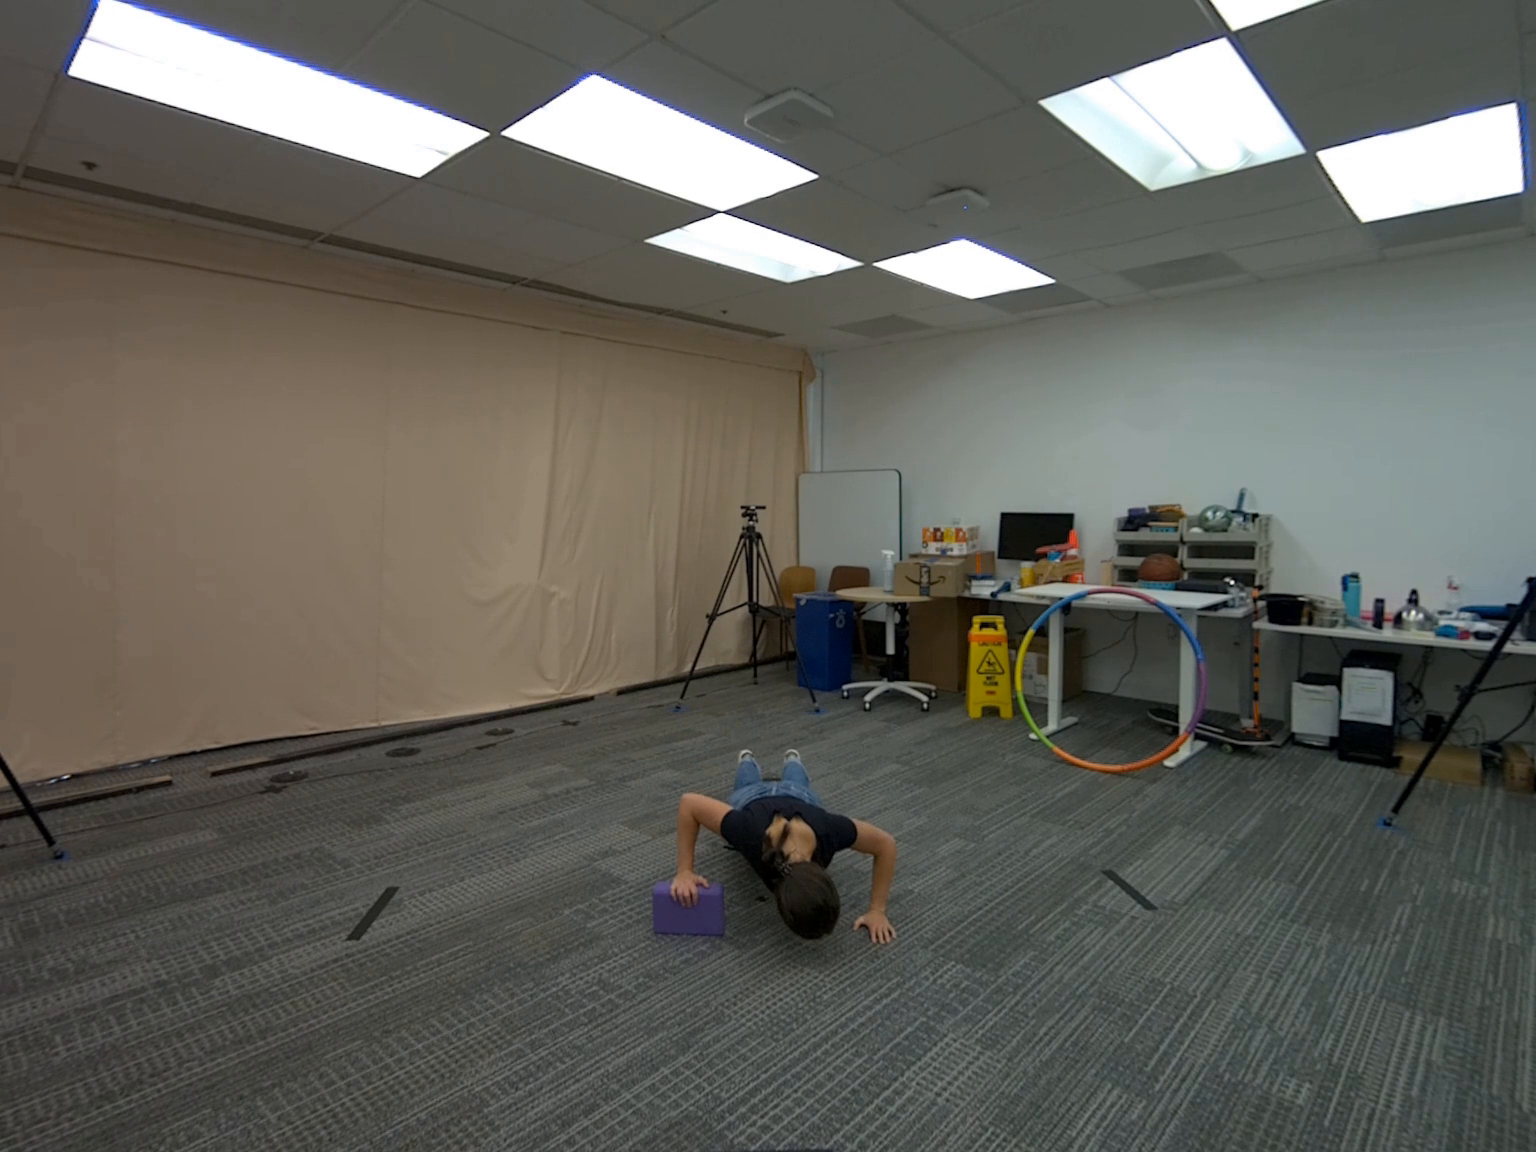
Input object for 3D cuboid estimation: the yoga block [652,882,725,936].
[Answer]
[{"bbox_3d":[-0.255,1.098,2.768,0.230,0.149,0.076,2,2,5],"label":"yoga block"}]
